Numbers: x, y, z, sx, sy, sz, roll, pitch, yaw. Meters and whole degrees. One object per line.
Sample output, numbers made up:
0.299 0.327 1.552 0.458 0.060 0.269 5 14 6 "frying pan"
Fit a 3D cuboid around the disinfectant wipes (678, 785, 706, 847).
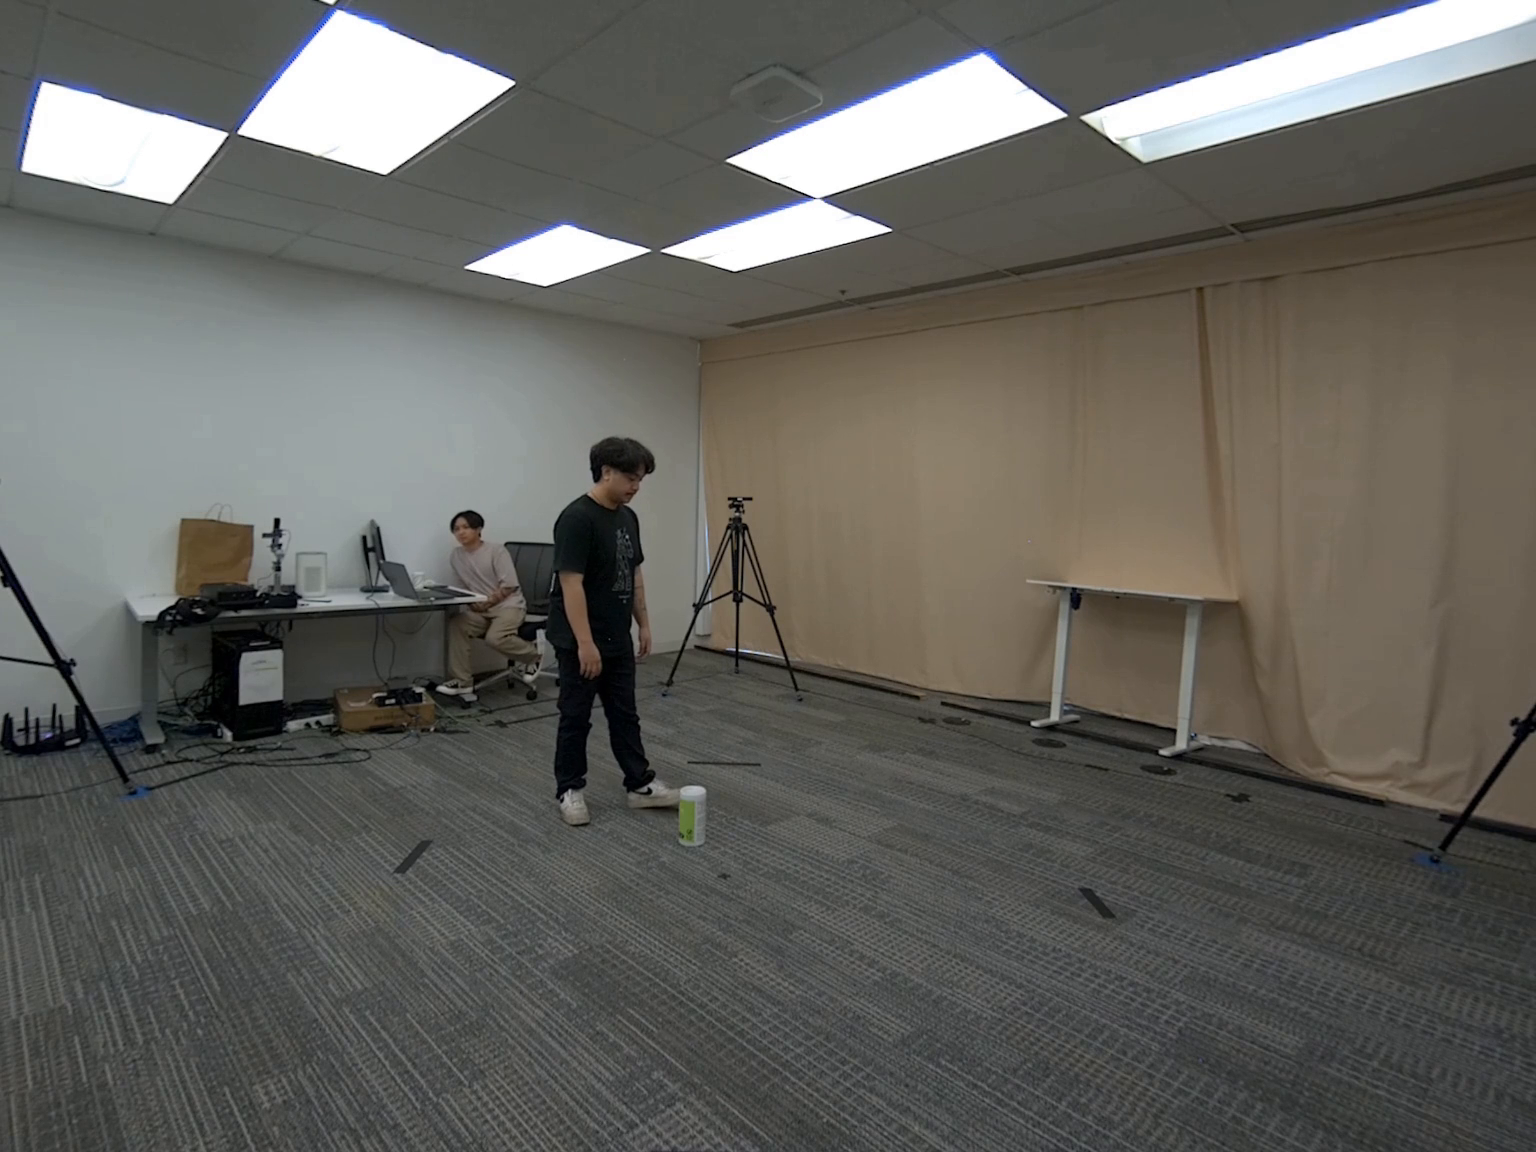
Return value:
-0.314 0.970 3.407 0.118 0.217 0.118 2 4 -2 "disinfectant wipes"
